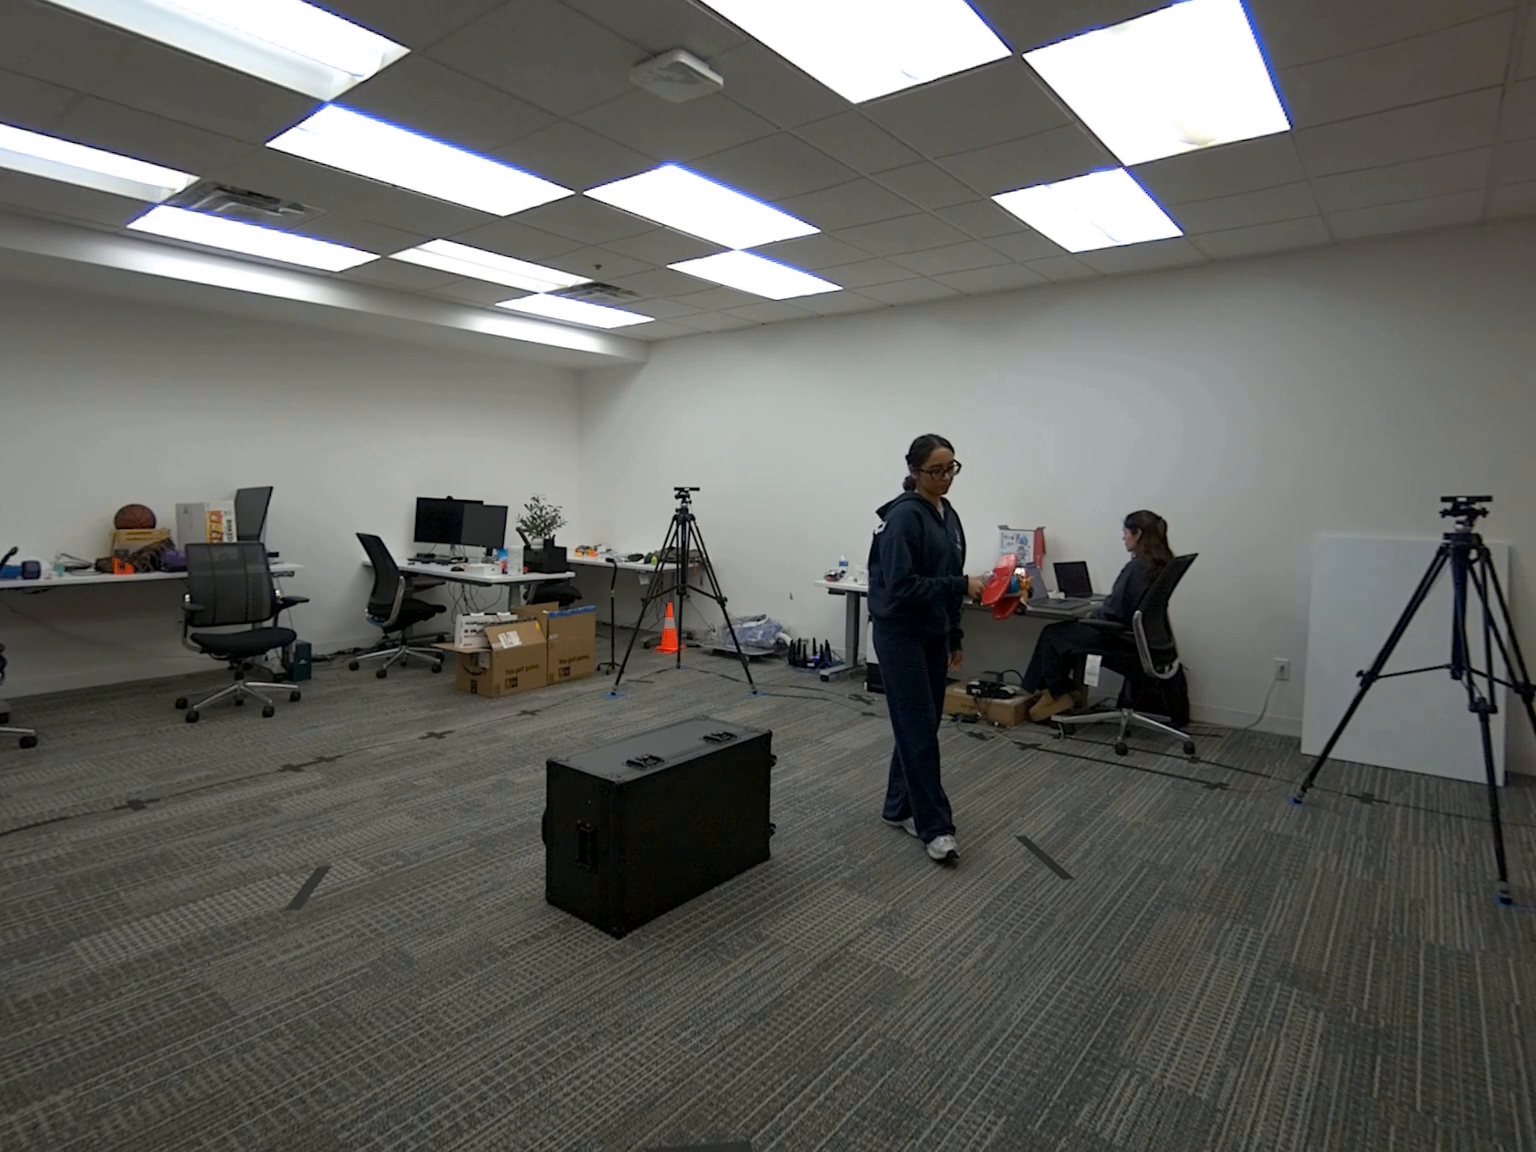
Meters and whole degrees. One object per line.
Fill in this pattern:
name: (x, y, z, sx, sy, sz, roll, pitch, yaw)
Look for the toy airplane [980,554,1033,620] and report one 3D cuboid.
toy airplane: (0.846, 0.062, 3.171, 0.262, 0.151, 0.257, -19, 36, 19)
